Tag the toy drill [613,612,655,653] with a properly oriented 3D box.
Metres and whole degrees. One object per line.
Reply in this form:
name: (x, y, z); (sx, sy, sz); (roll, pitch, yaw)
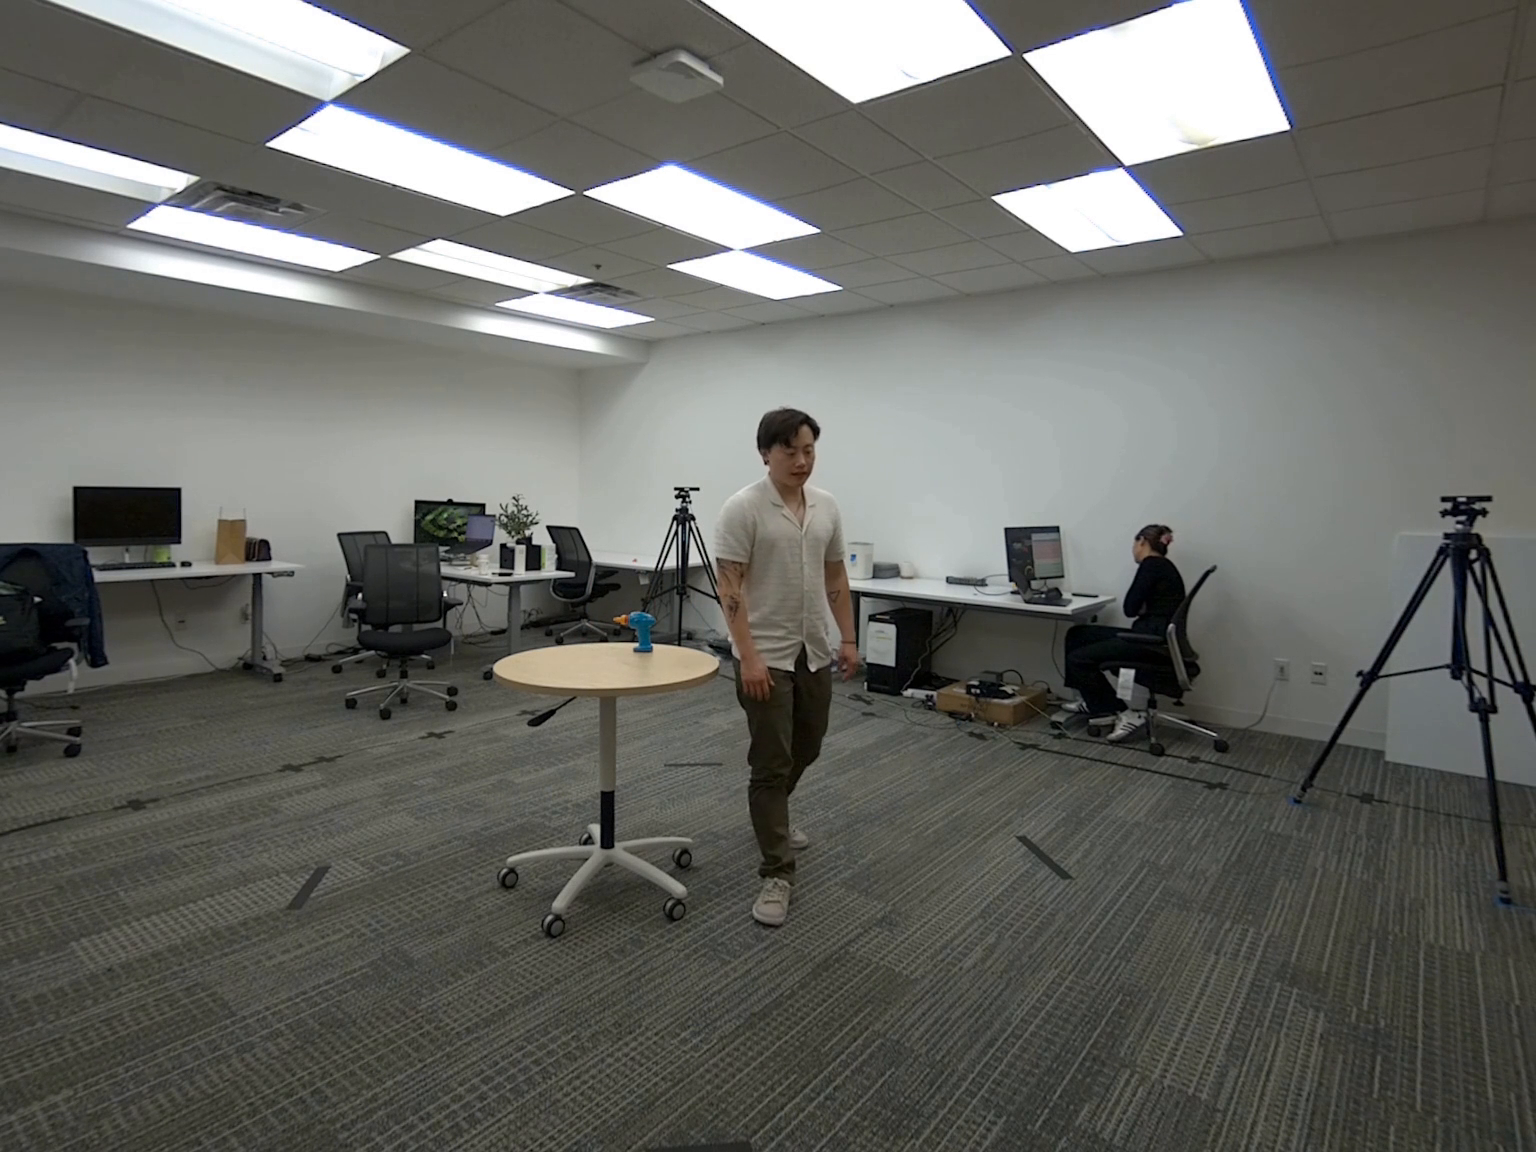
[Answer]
toy drill: (-0.507, 0.201, 3.136); (0.171, 0.146, 0.061); (1, 2, 8)
